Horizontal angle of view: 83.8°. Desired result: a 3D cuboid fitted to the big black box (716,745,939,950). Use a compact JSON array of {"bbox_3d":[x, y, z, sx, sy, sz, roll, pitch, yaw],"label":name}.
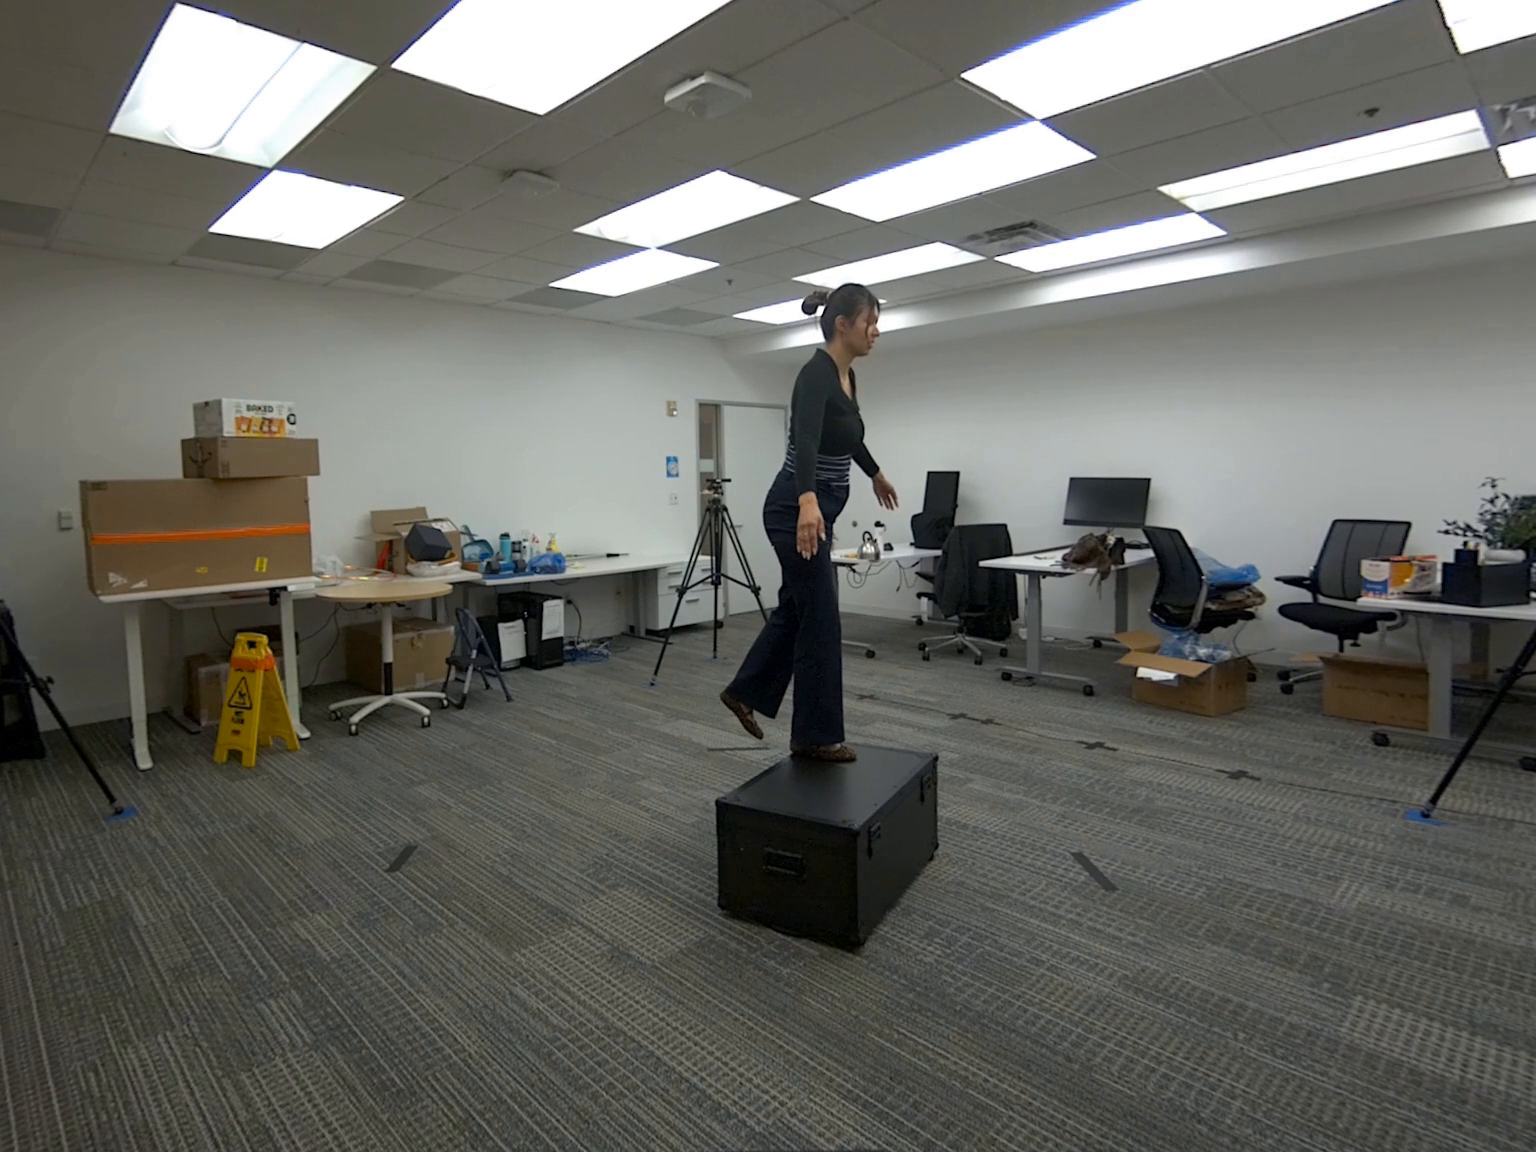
[{"bbox_3d":[0.251,0.866,2.958,0.535,0.394,0.843,1,6,29],"label":"big black box"}]
